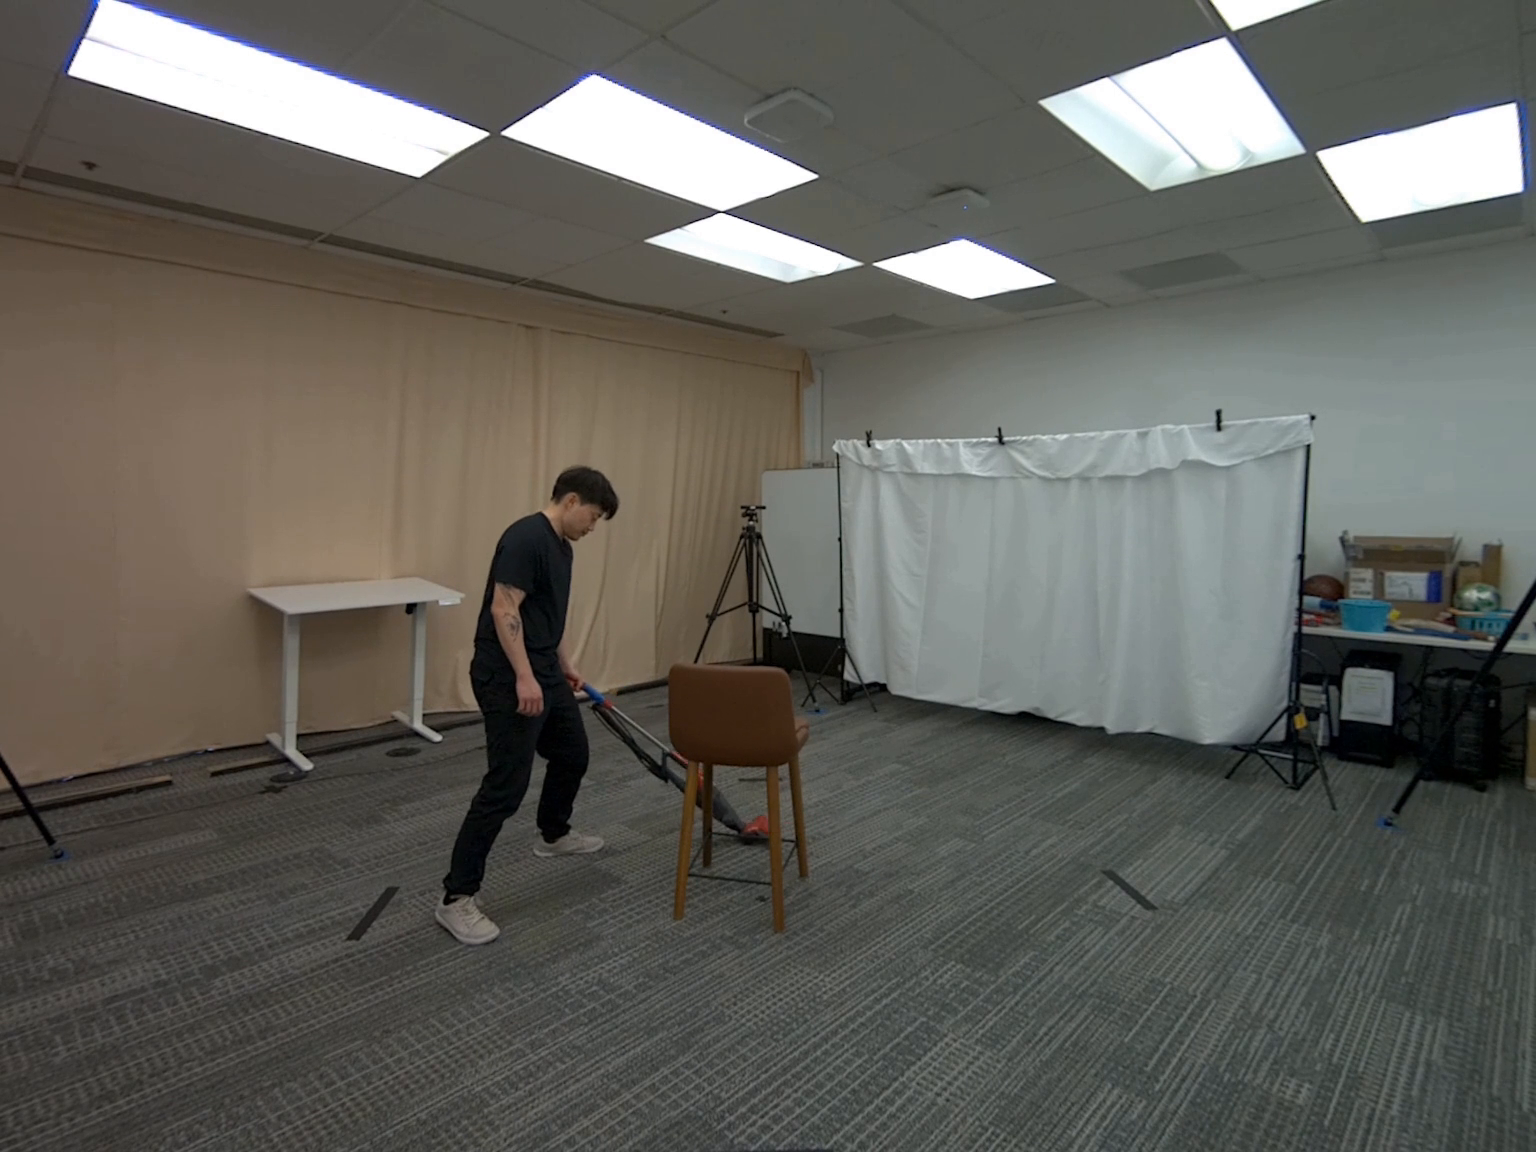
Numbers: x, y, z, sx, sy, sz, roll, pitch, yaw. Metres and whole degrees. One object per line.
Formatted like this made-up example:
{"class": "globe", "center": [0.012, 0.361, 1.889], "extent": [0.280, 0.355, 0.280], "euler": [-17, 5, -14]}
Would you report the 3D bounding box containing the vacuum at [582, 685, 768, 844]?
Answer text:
{"class": "vacuum", "center": [-0.445, 0.752, 3.439], "extent": [1.037, 0.144, 0.255], "euler": [39, 3, -9]}
